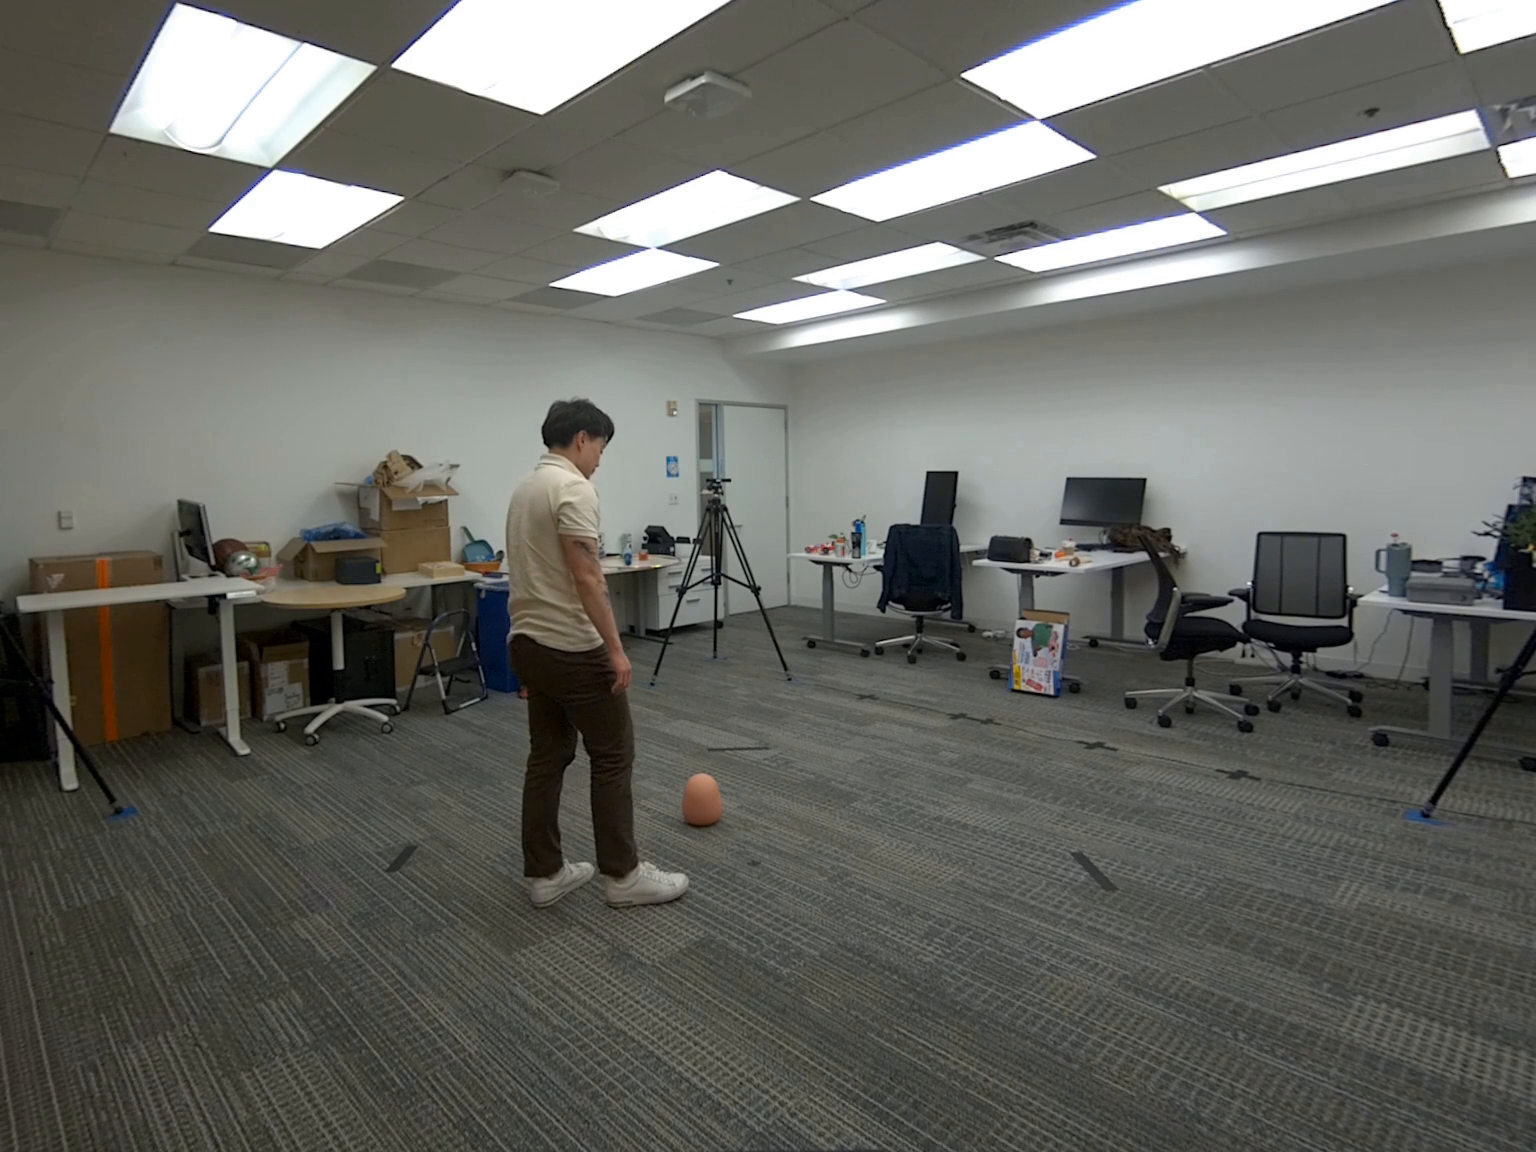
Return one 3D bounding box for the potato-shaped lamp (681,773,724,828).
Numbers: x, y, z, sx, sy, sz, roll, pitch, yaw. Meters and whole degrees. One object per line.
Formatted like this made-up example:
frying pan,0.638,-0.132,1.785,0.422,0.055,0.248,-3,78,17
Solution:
potato-shaped lamp,-0.270,0.907,3.483,0.166,0.197,0.170,-2,6,11
